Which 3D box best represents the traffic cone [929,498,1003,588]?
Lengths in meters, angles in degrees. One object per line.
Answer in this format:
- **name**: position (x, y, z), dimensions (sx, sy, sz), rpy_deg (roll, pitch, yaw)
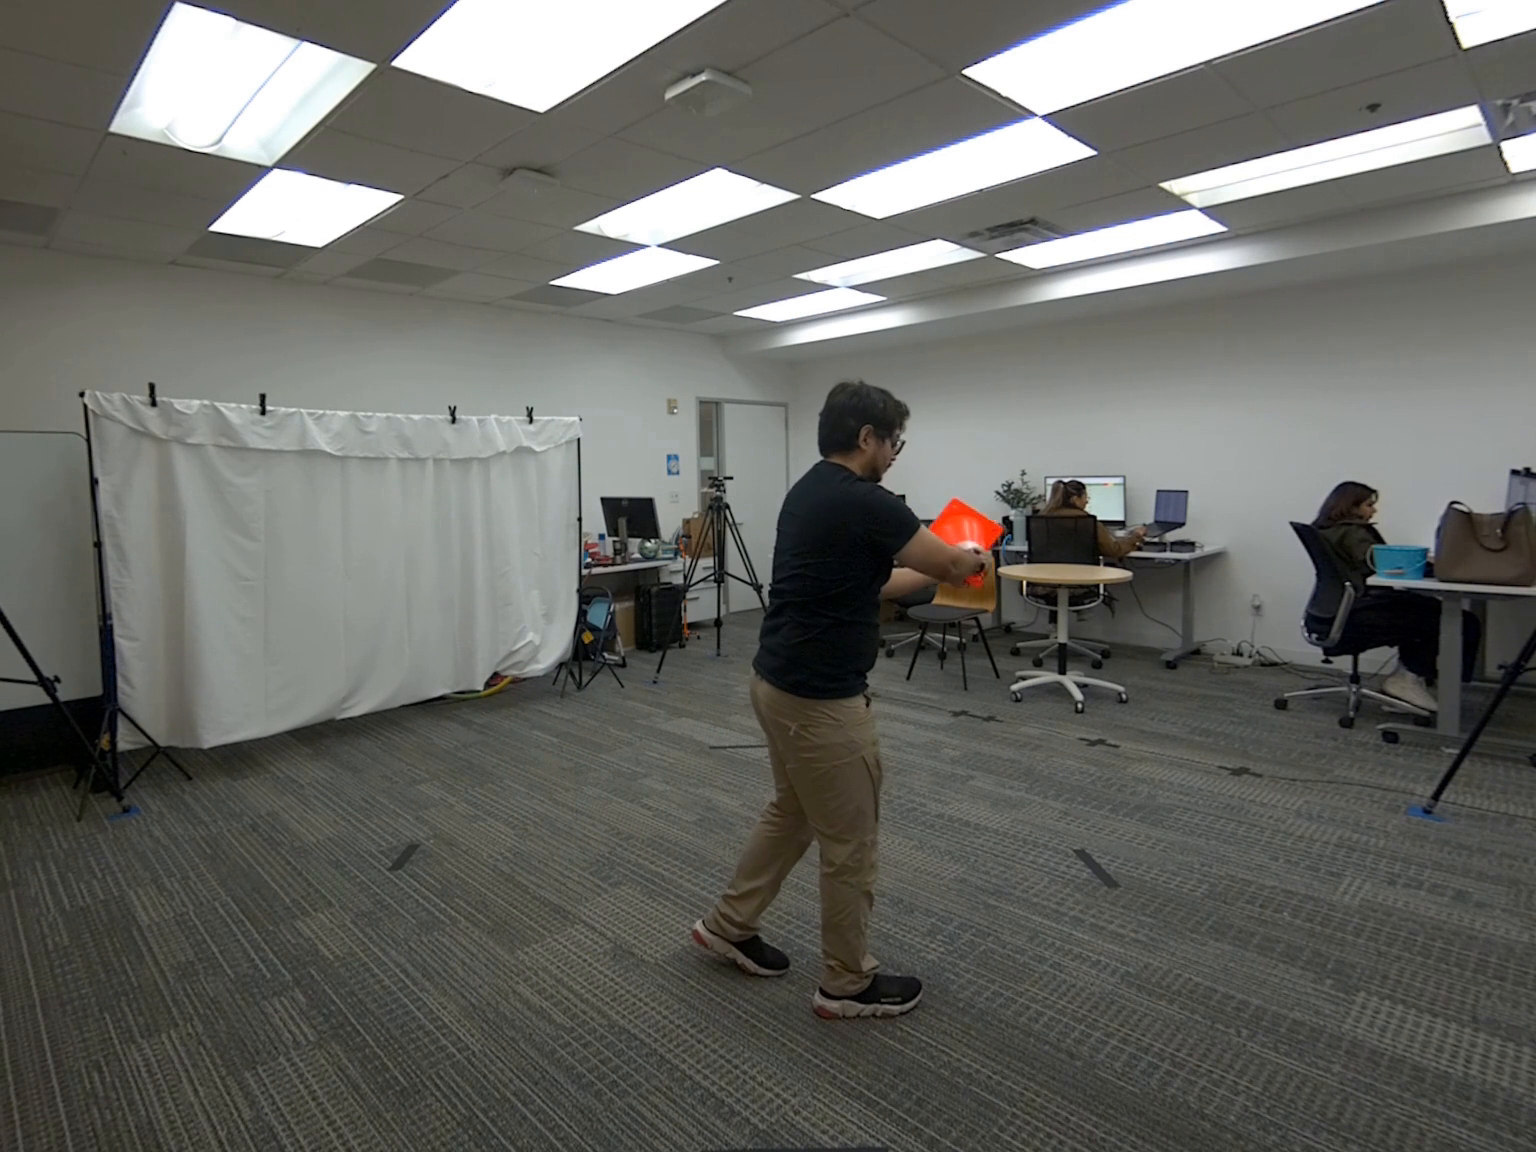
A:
- **traffic cone**: position (0.604, -0.040, 2.562), dimensions (0.204, 0.202, 0.388), rpy_deg (27, 24, -6)
